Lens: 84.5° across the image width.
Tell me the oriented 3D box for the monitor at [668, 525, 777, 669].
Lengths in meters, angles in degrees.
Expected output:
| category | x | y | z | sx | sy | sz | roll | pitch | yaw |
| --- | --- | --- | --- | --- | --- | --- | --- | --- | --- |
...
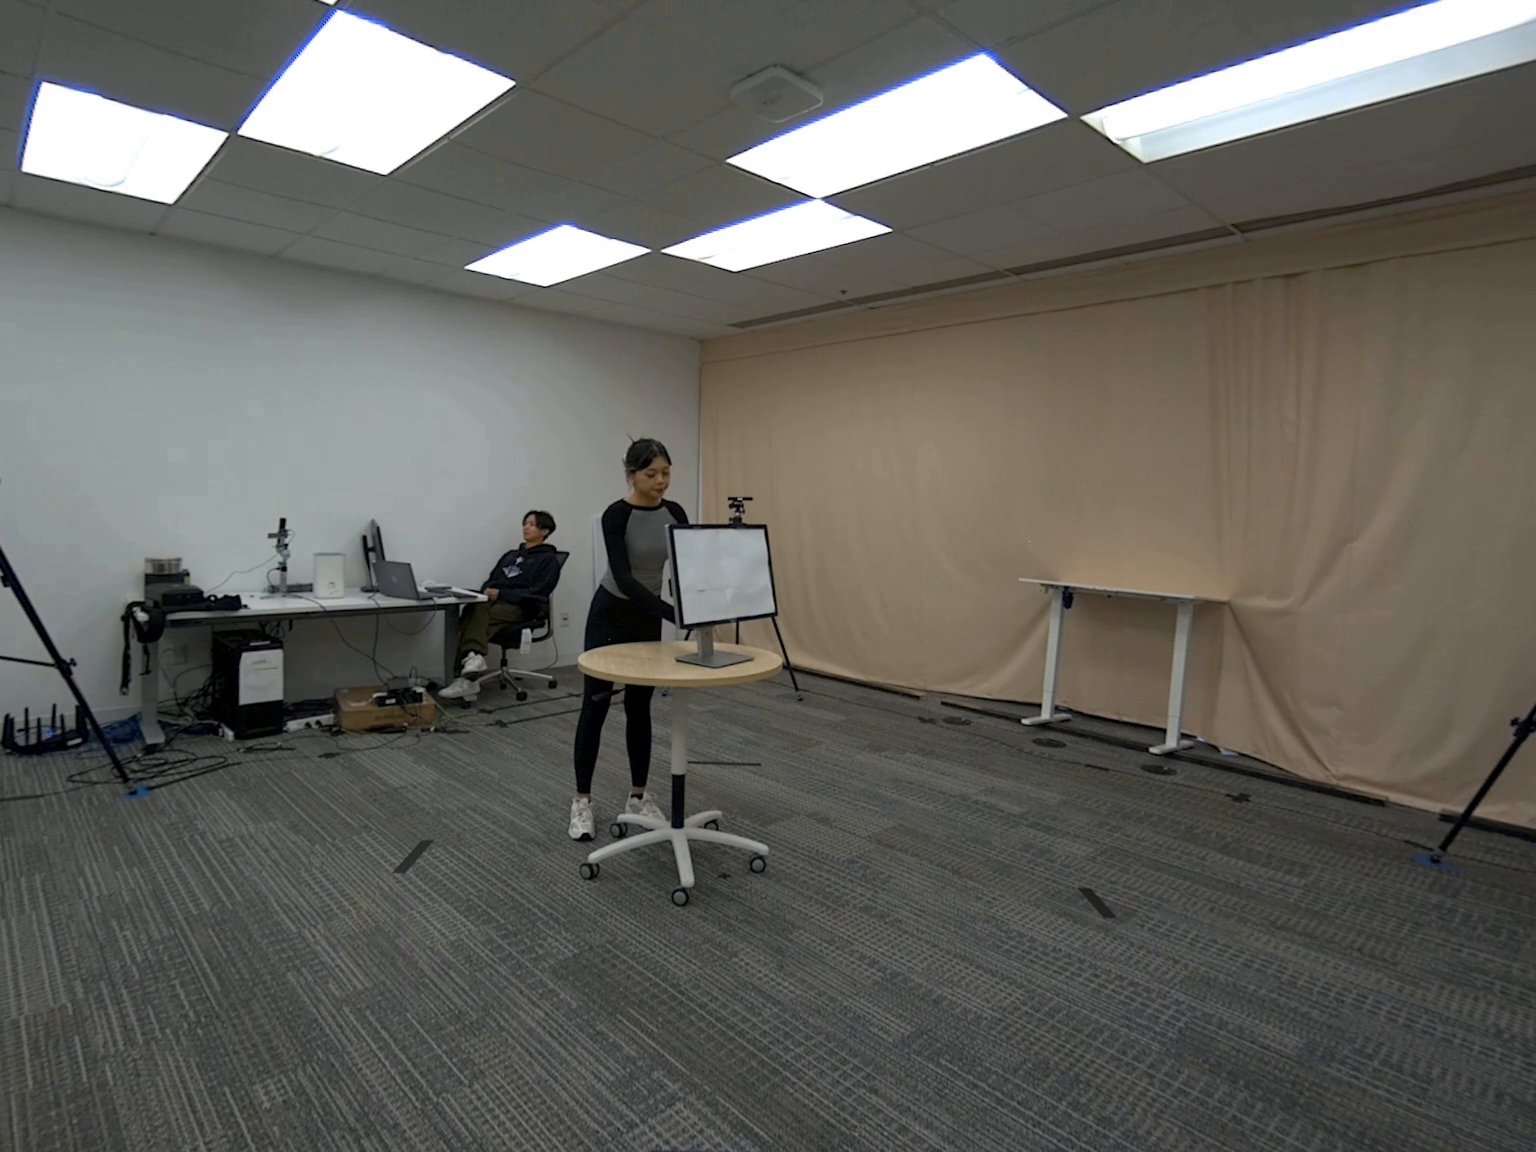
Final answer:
| category | x | y | z | sx | sy | sz | roll | pitch | yaw |
| --- | --- | --- | --- | --- | --- | --- | --- | --- | --- |
| monitor | -0.194 | 0.068 | 3.112 | 0.179 | 0.514 | 0.518 | 13 | 9 | 36 |
